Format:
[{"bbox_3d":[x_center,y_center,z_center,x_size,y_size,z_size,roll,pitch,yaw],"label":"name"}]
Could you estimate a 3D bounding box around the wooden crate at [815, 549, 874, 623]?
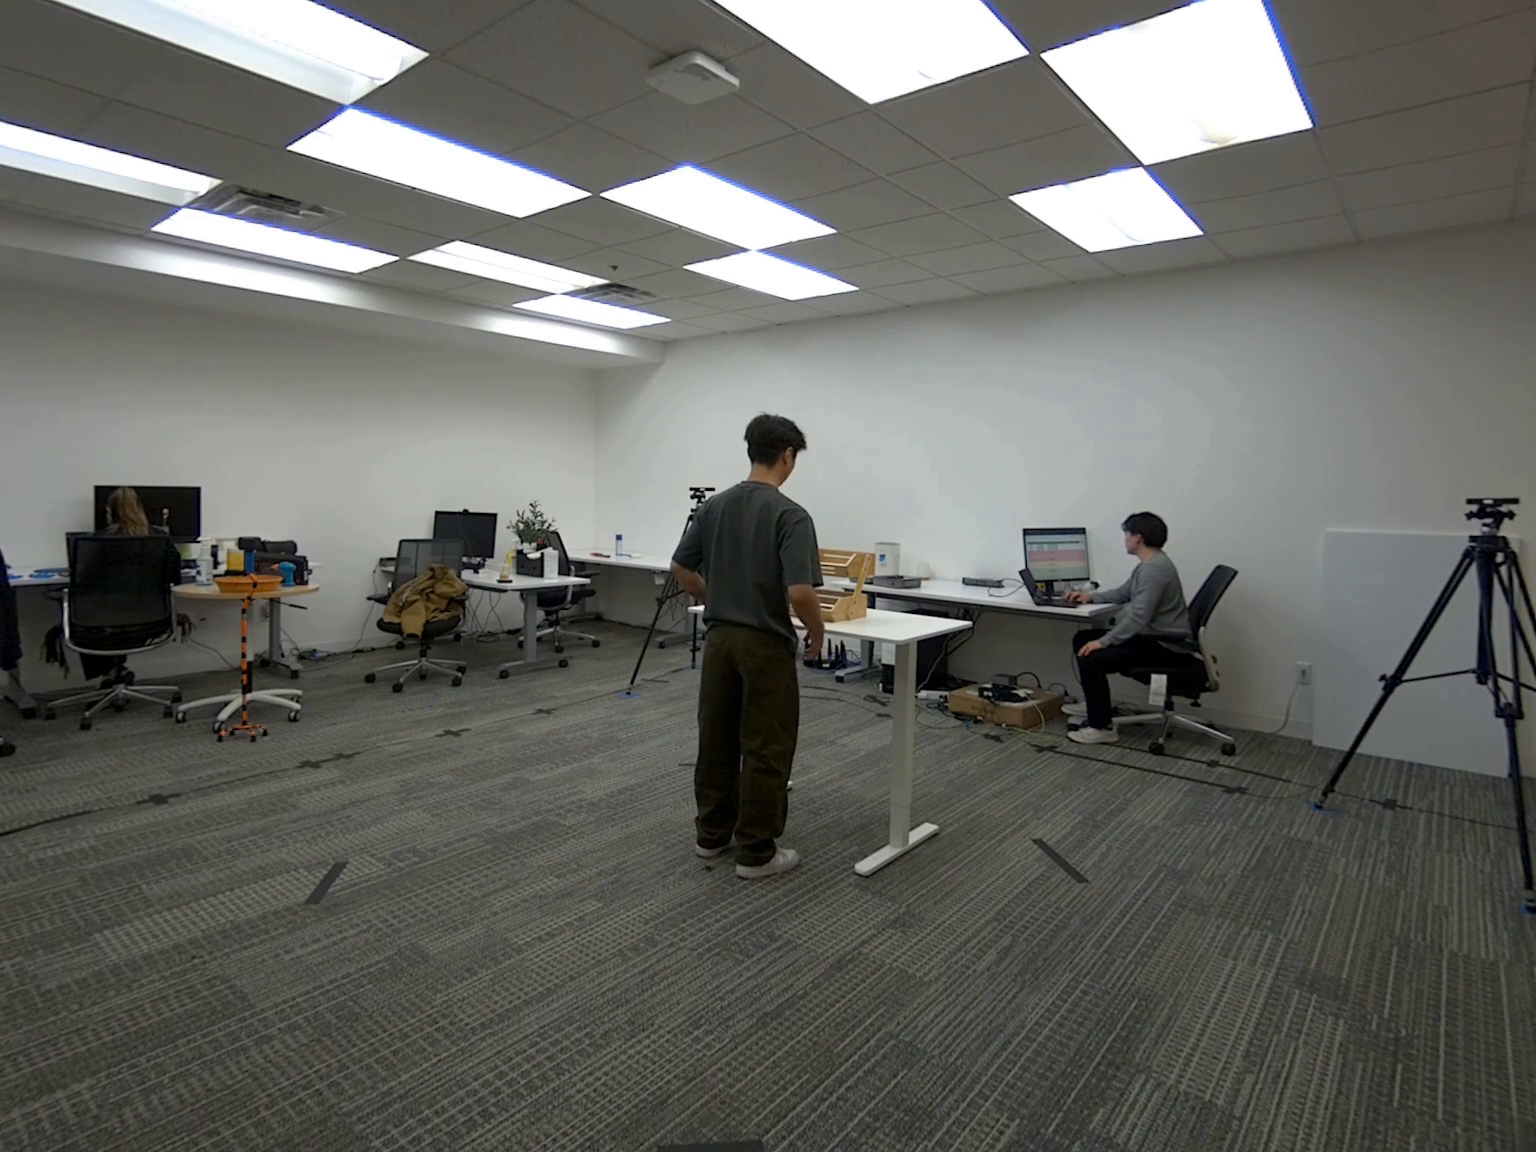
[{"bbox_3d":[0.215,0.022,3.477,0.335,0.272,0.293,6,5,39],"label":"wooden crate"}]
